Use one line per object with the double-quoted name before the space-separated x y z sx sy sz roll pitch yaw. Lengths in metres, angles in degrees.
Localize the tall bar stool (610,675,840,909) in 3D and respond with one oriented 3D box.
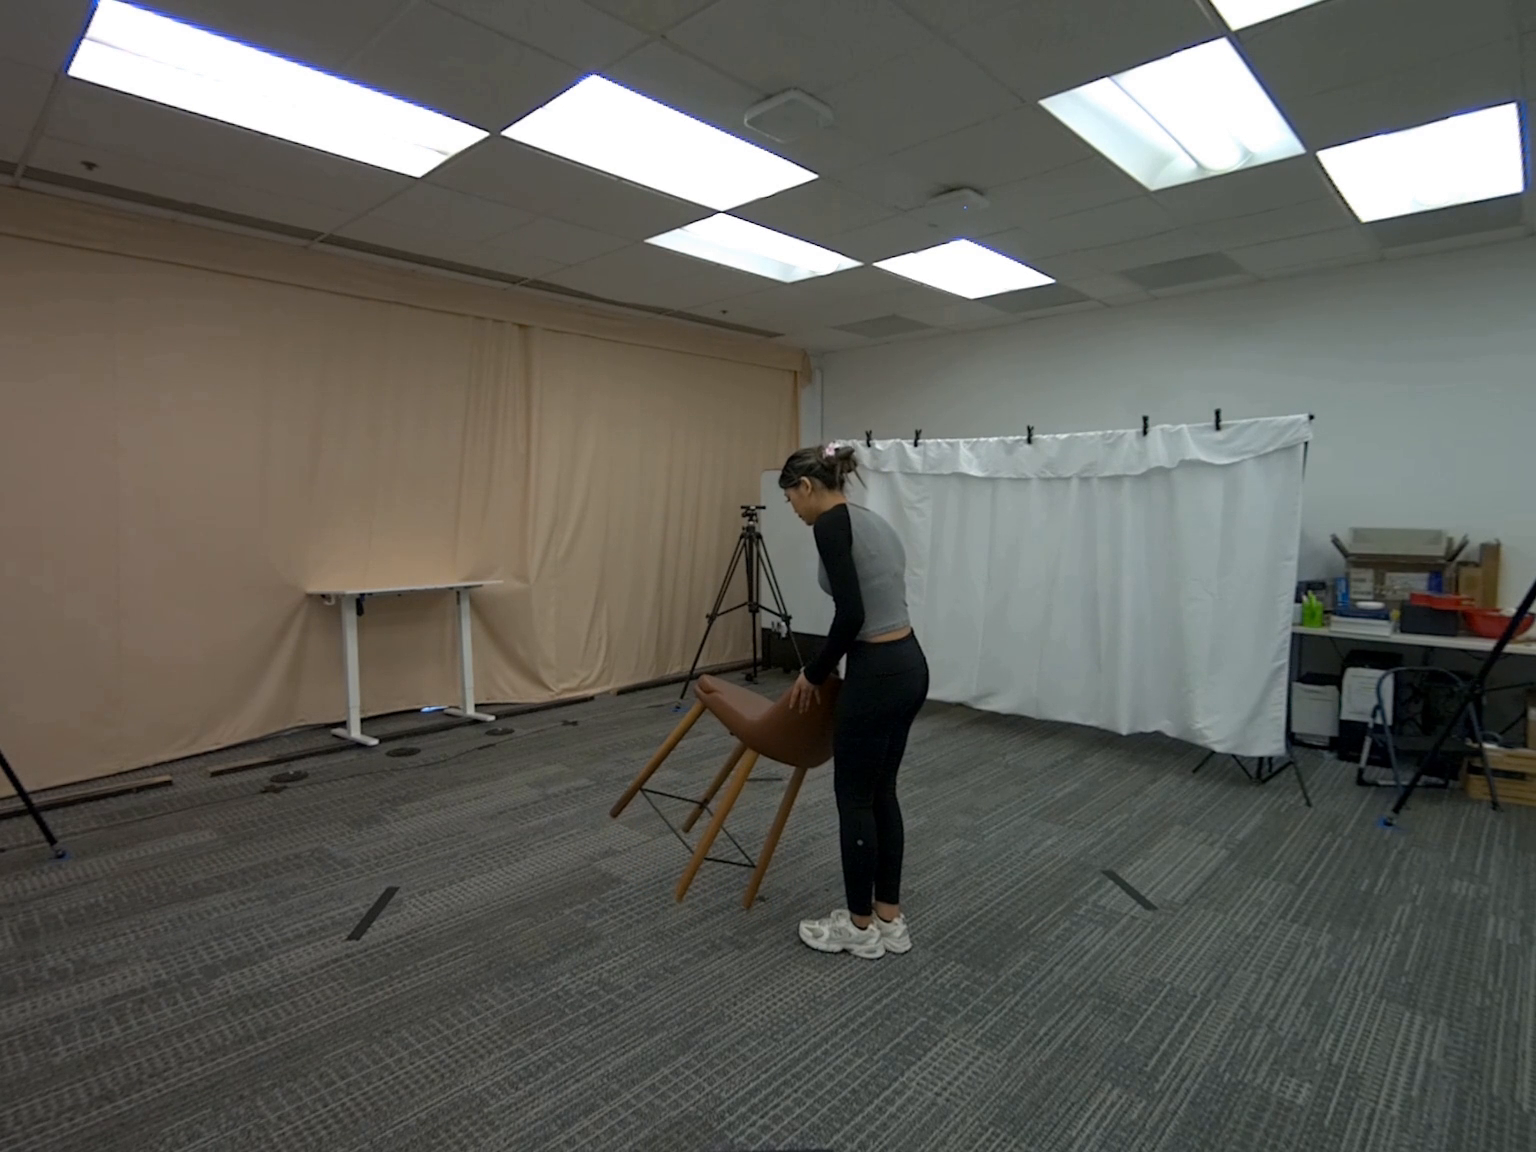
"tall bar stool" -0.077 0.633 2.920 0.440 0.890 0.485 28 6 -43
